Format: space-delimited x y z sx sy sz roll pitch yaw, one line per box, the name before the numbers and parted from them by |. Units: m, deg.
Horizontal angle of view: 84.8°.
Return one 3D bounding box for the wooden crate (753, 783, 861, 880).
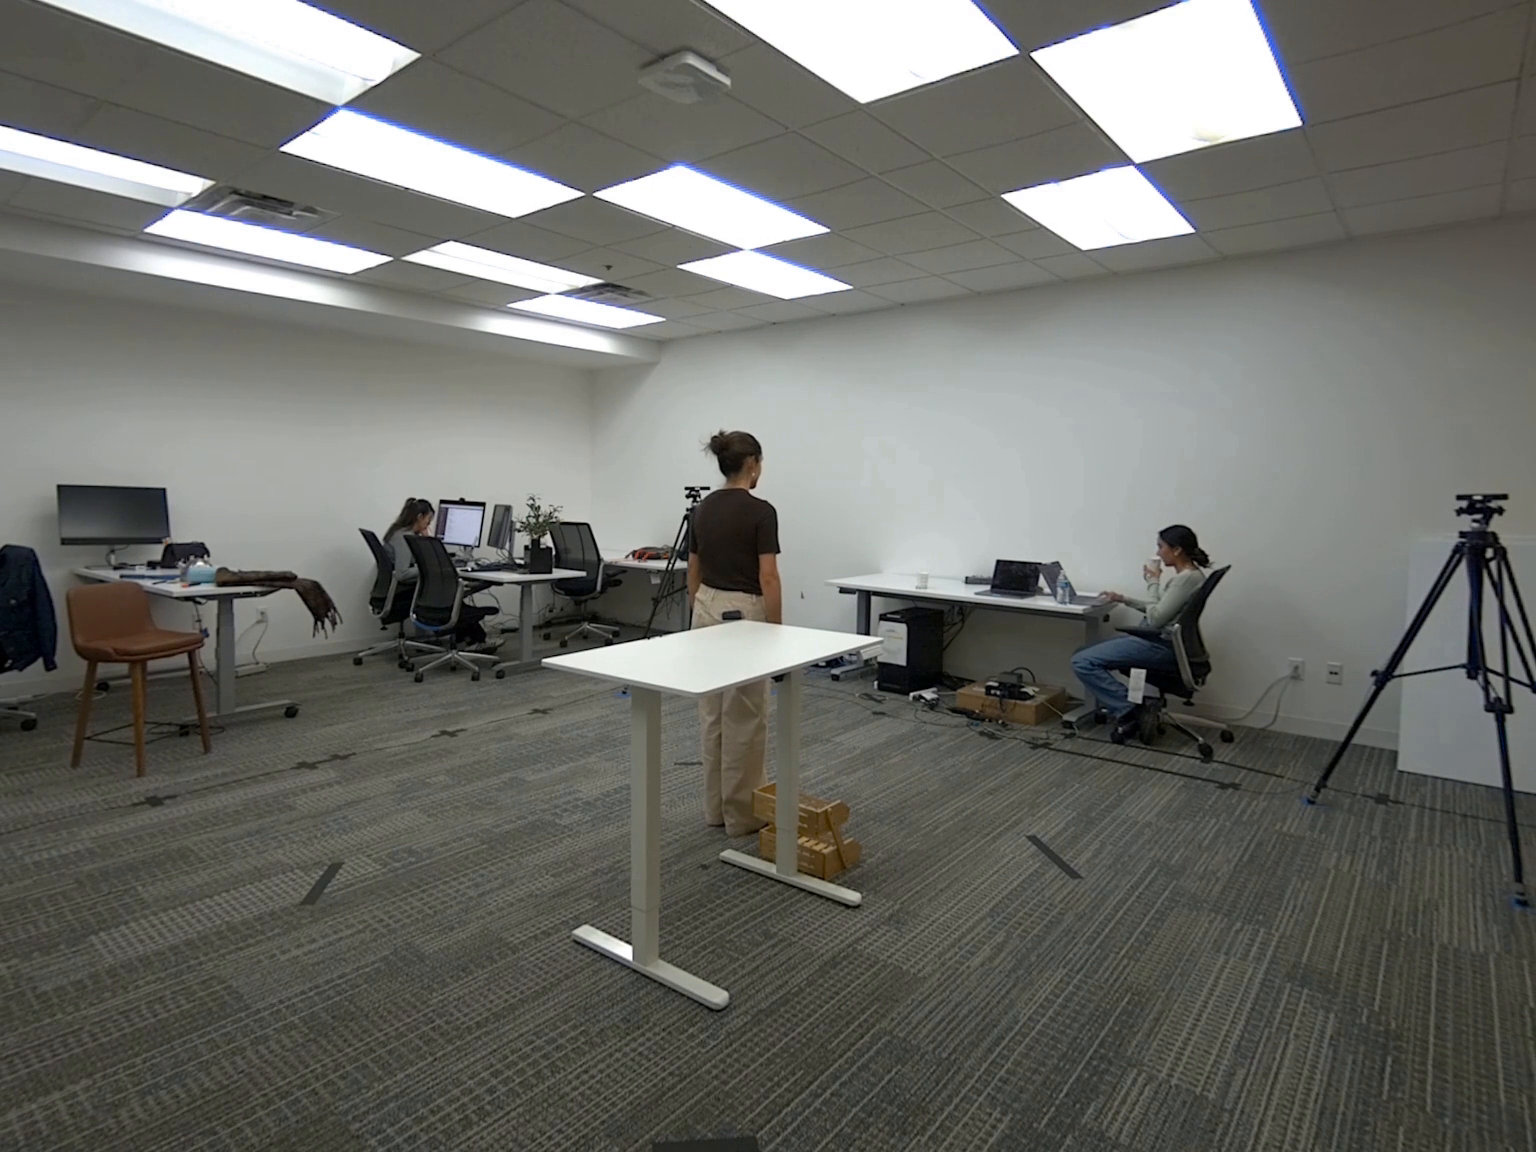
wooden crate | 0.139 0.928 3.200 0.335 0.272 0.293 5 6 38
